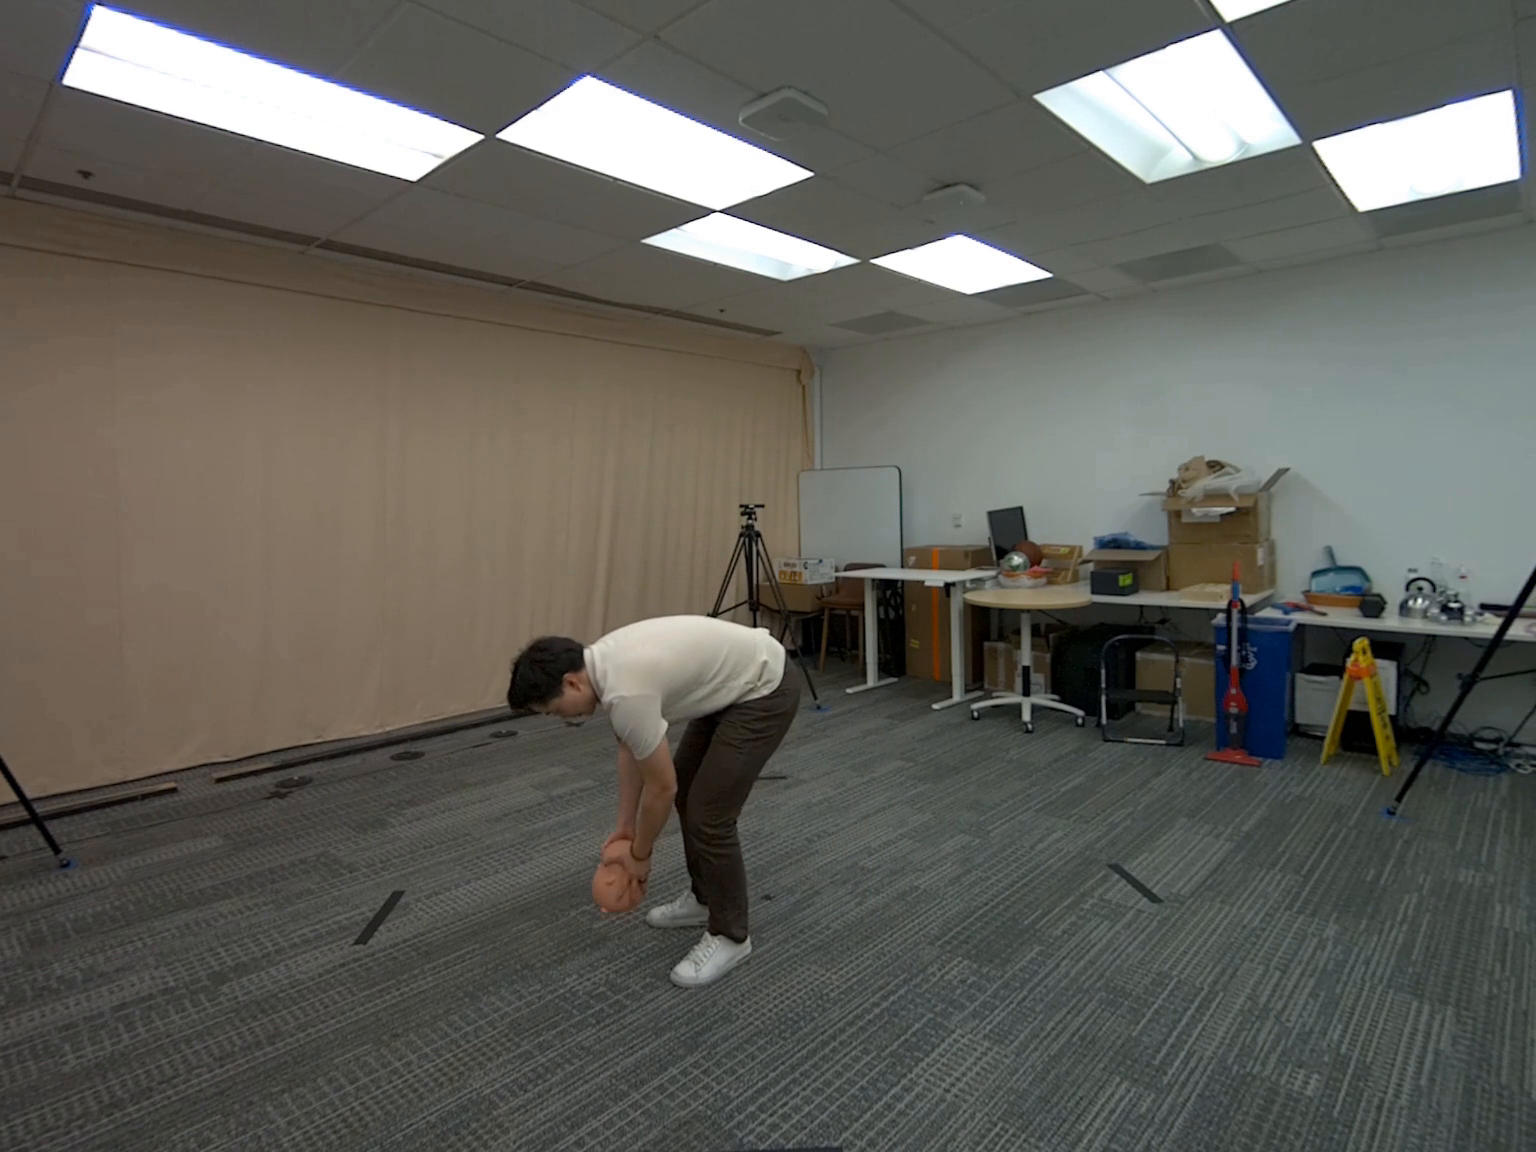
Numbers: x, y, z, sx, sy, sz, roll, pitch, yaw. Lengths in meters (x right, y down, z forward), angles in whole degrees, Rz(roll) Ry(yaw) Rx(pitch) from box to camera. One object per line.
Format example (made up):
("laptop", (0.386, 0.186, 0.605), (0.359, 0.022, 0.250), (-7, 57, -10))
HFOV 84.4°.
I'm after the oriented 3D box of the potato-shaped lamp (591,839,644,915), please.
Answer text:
("potato-shaped lamp", (-0.447, 0.897, 2.579), (0.168, 0.198, 0.168), (0, 3, -21))
